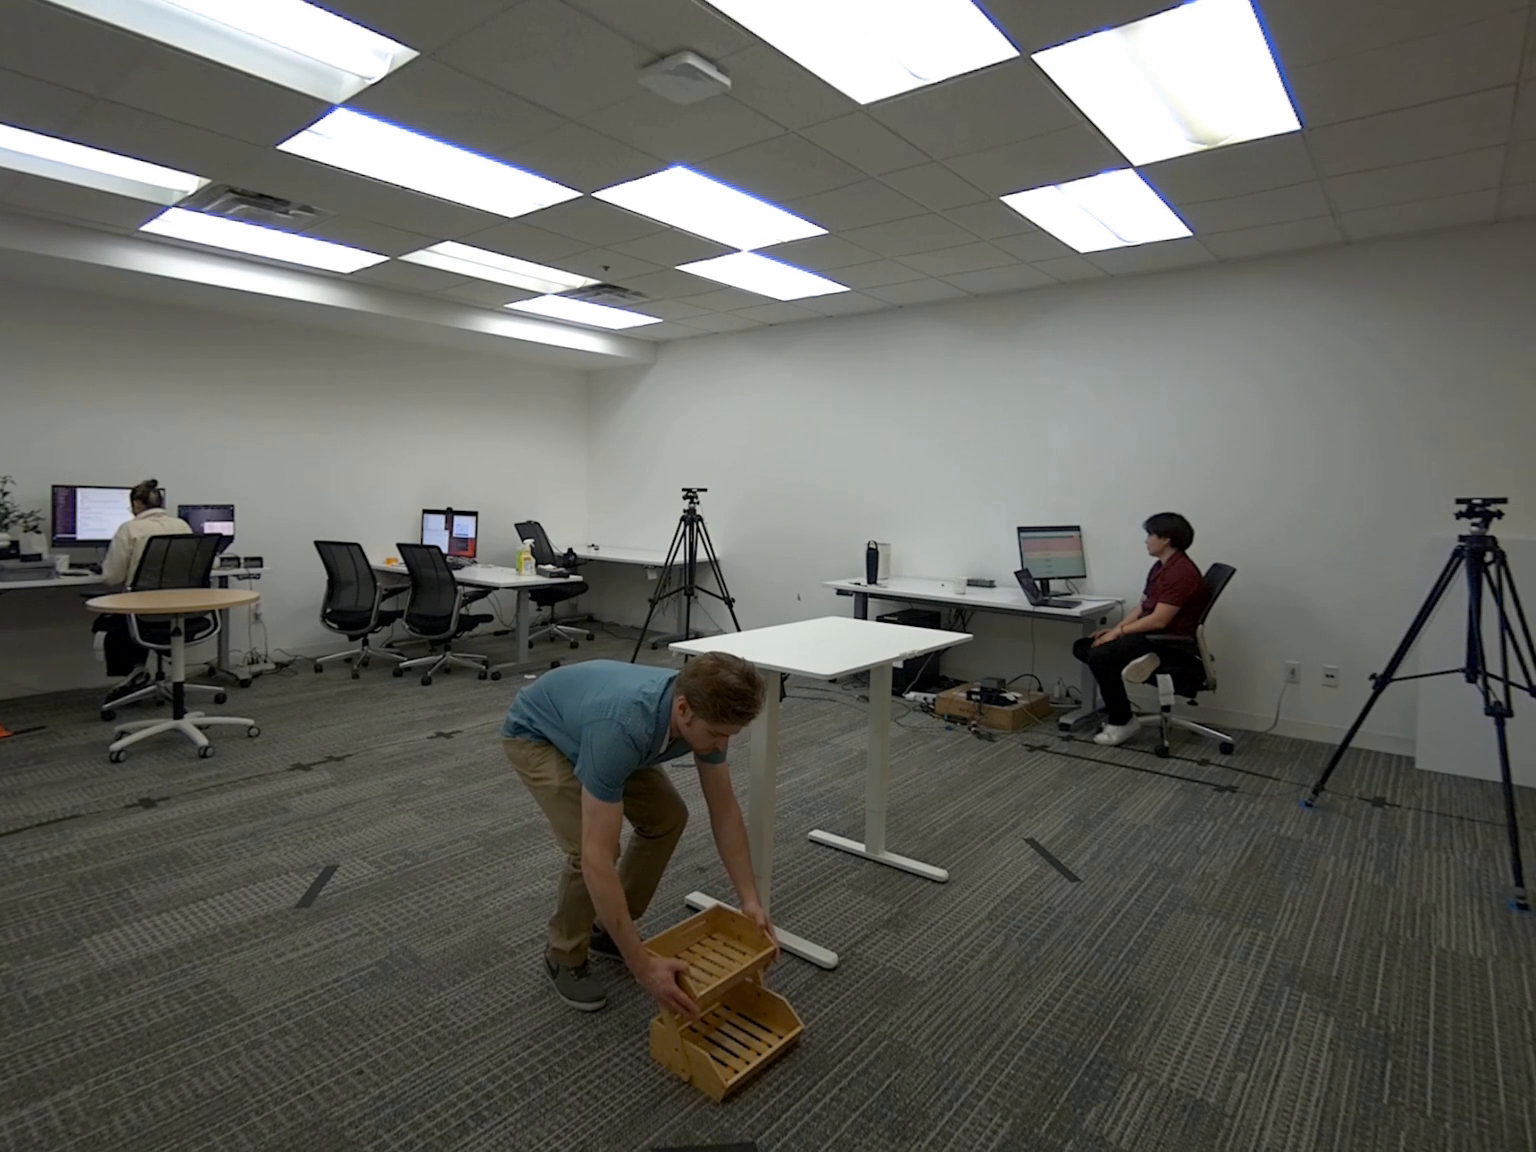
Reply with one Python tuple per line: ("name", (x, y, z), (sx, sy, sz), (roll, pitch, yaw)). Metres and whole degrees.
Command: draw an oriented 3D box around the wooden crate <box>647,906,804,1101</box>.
("wooden crate", (-0.118, 1.038, 2.115), (0.312, 0.272, 0.315), (4, 5, 40))
